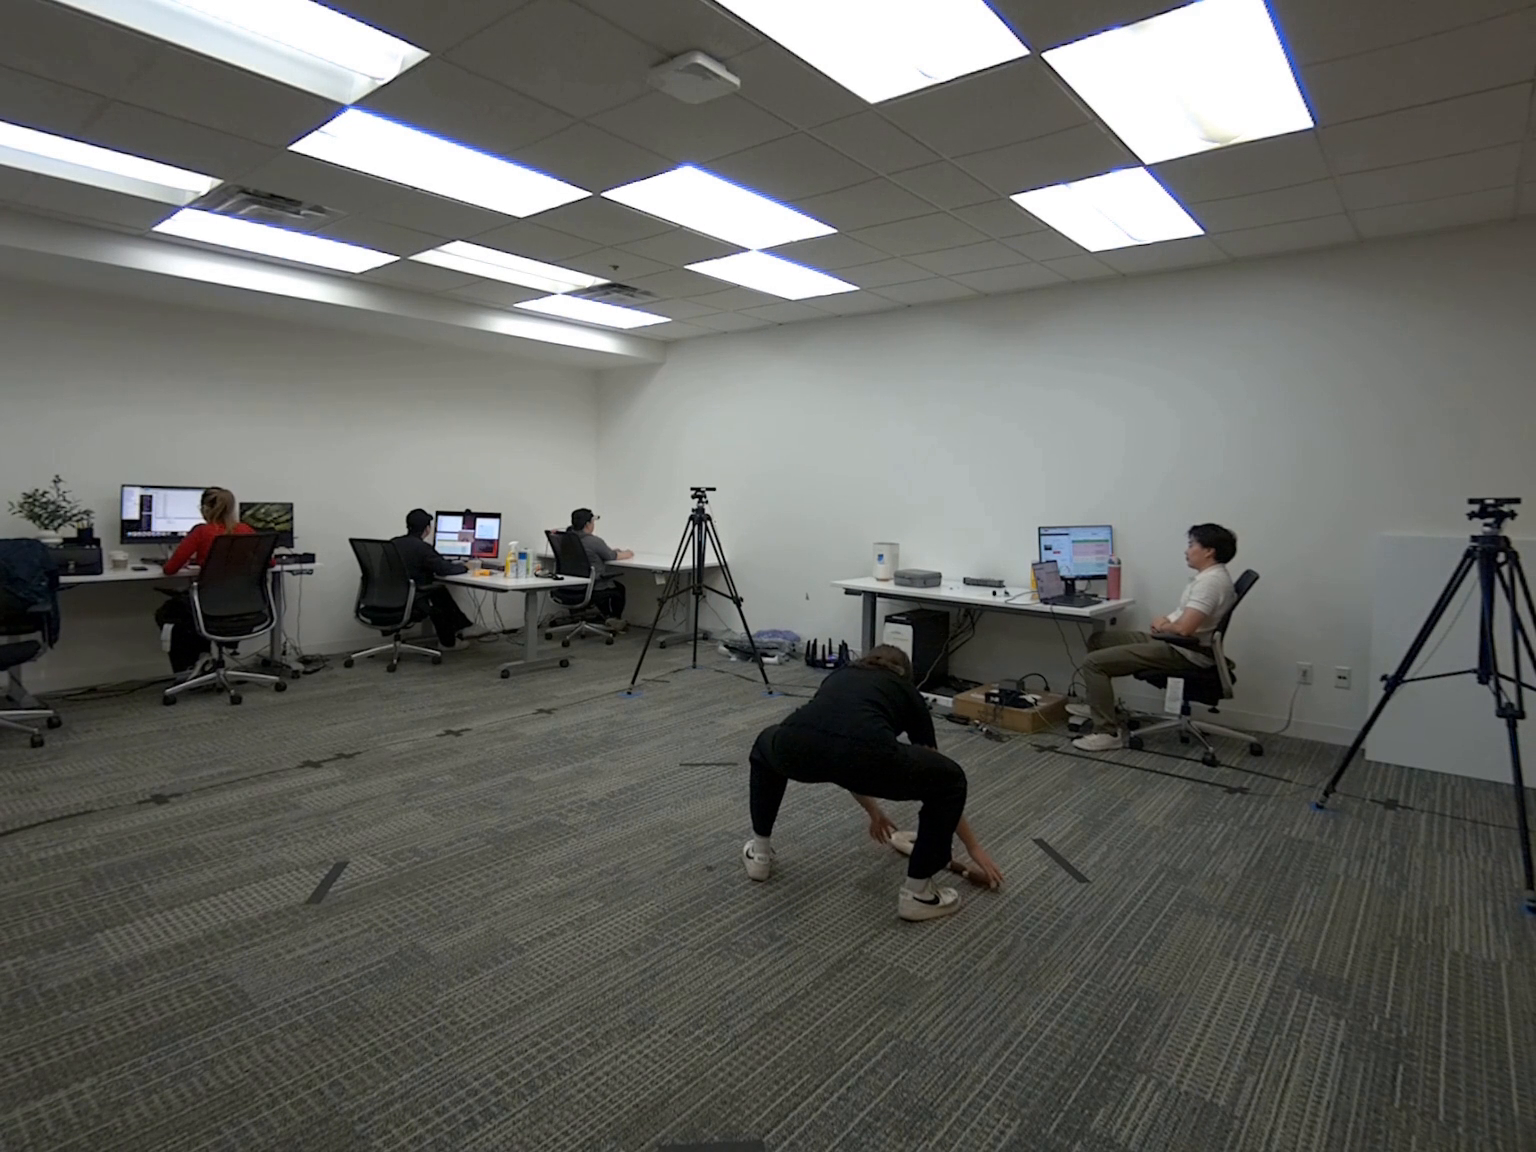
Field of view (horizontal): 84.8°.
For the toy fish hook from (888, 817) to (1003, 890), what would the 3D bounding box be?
[{"bbox_3d":[0.671,1.057,3.210,0.218,0.048,0.524,-6,9,-38],"label":"toy fish hook"}]
